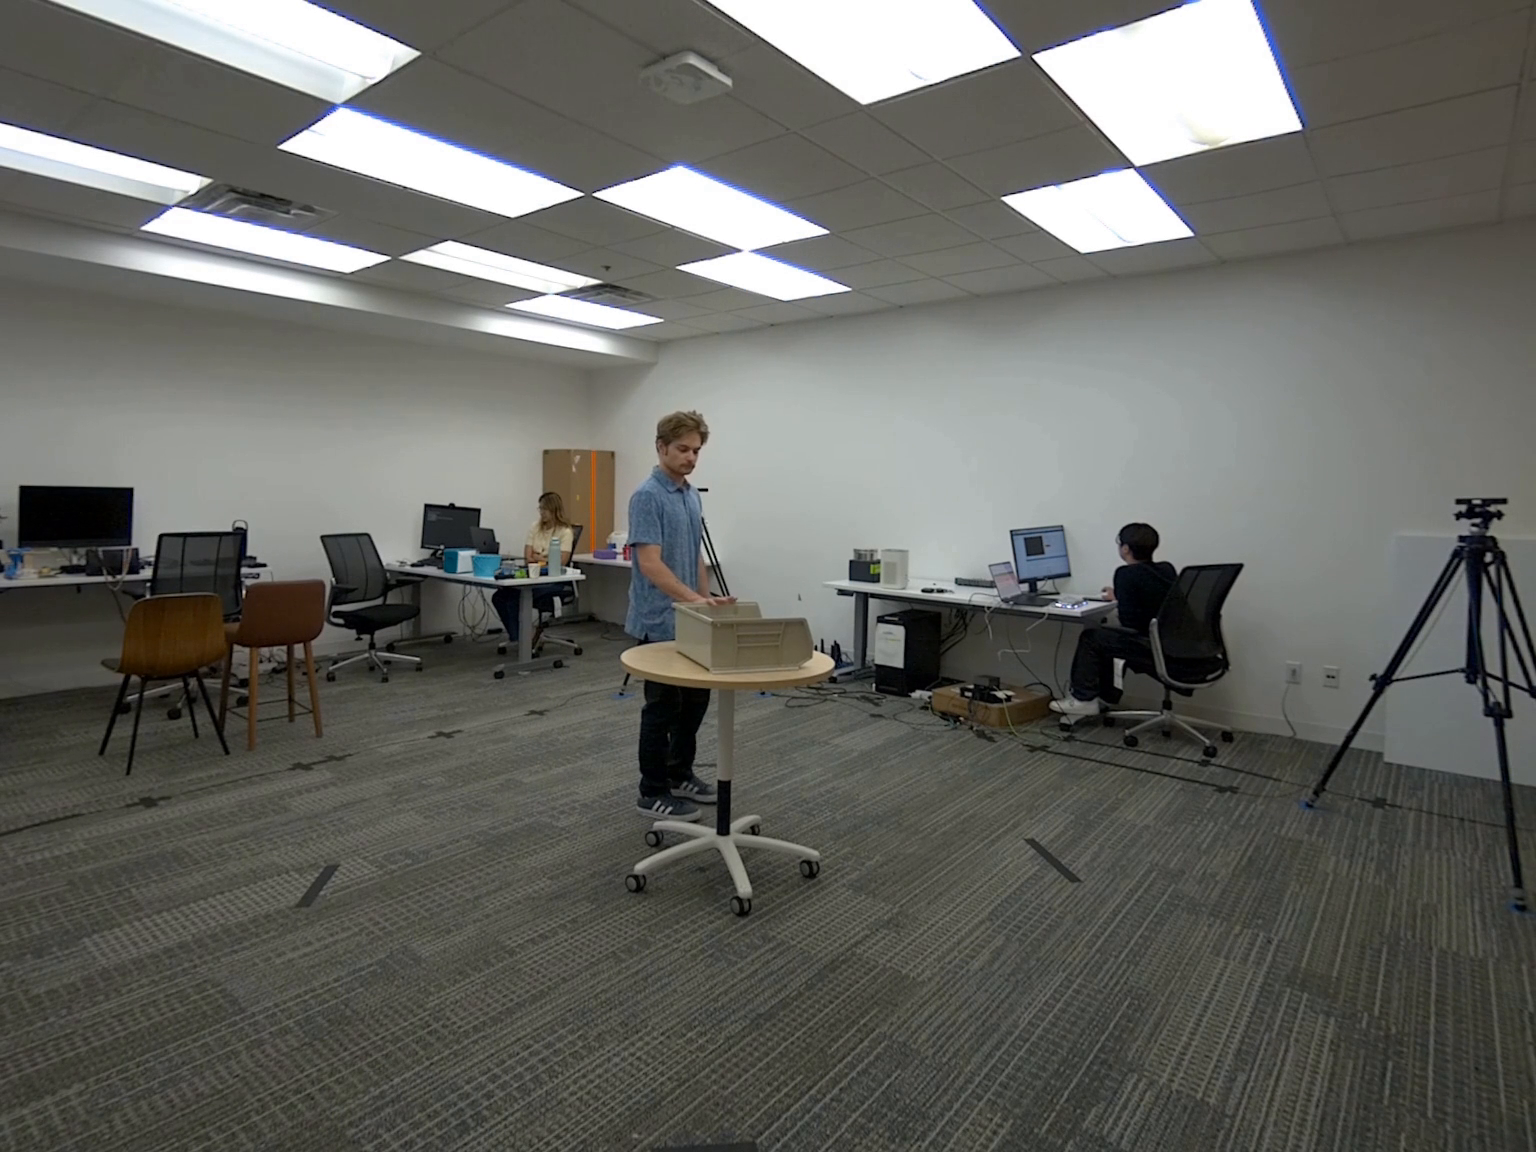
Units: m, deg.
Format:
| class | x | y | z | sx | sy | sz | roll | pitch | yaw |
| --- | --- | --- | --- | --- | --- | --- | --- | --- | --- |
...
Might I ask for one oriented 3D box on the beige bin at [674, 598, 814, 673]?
| class | x | y | z | sx | sy | sz | roll | pitch | yaw |
| --- | --- | --- | --- | --- | --- | --- | --- | --- | --- |
| beige bin | -0.109 | 0.205 | 3.018 | 0.369 | 0.188 | 0.433 | -2 | 7 | -23 |
